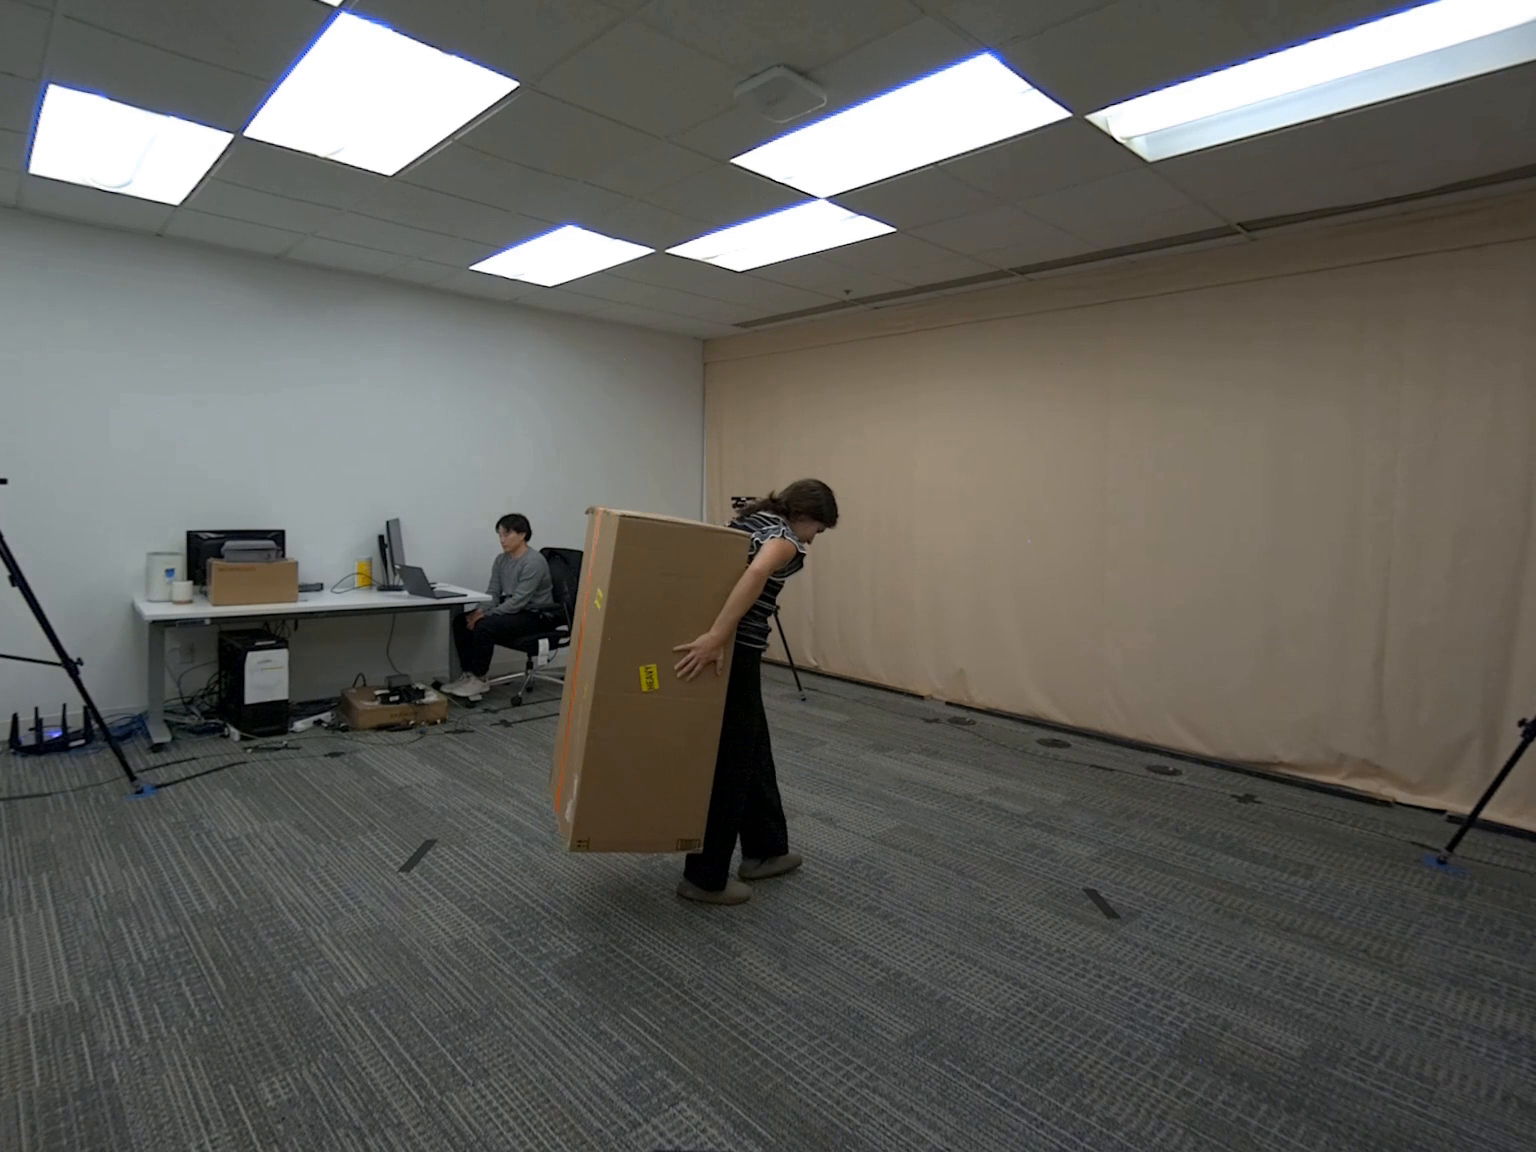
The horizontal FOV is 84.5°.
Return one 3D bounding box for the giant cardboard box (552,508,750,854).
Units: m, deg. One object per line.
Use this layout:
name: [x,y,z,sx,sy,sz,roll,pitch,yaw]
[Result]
giant cardboard box: [-0.431,0.317,2.815,0.419,1.024,0.588,8,3,-21]
